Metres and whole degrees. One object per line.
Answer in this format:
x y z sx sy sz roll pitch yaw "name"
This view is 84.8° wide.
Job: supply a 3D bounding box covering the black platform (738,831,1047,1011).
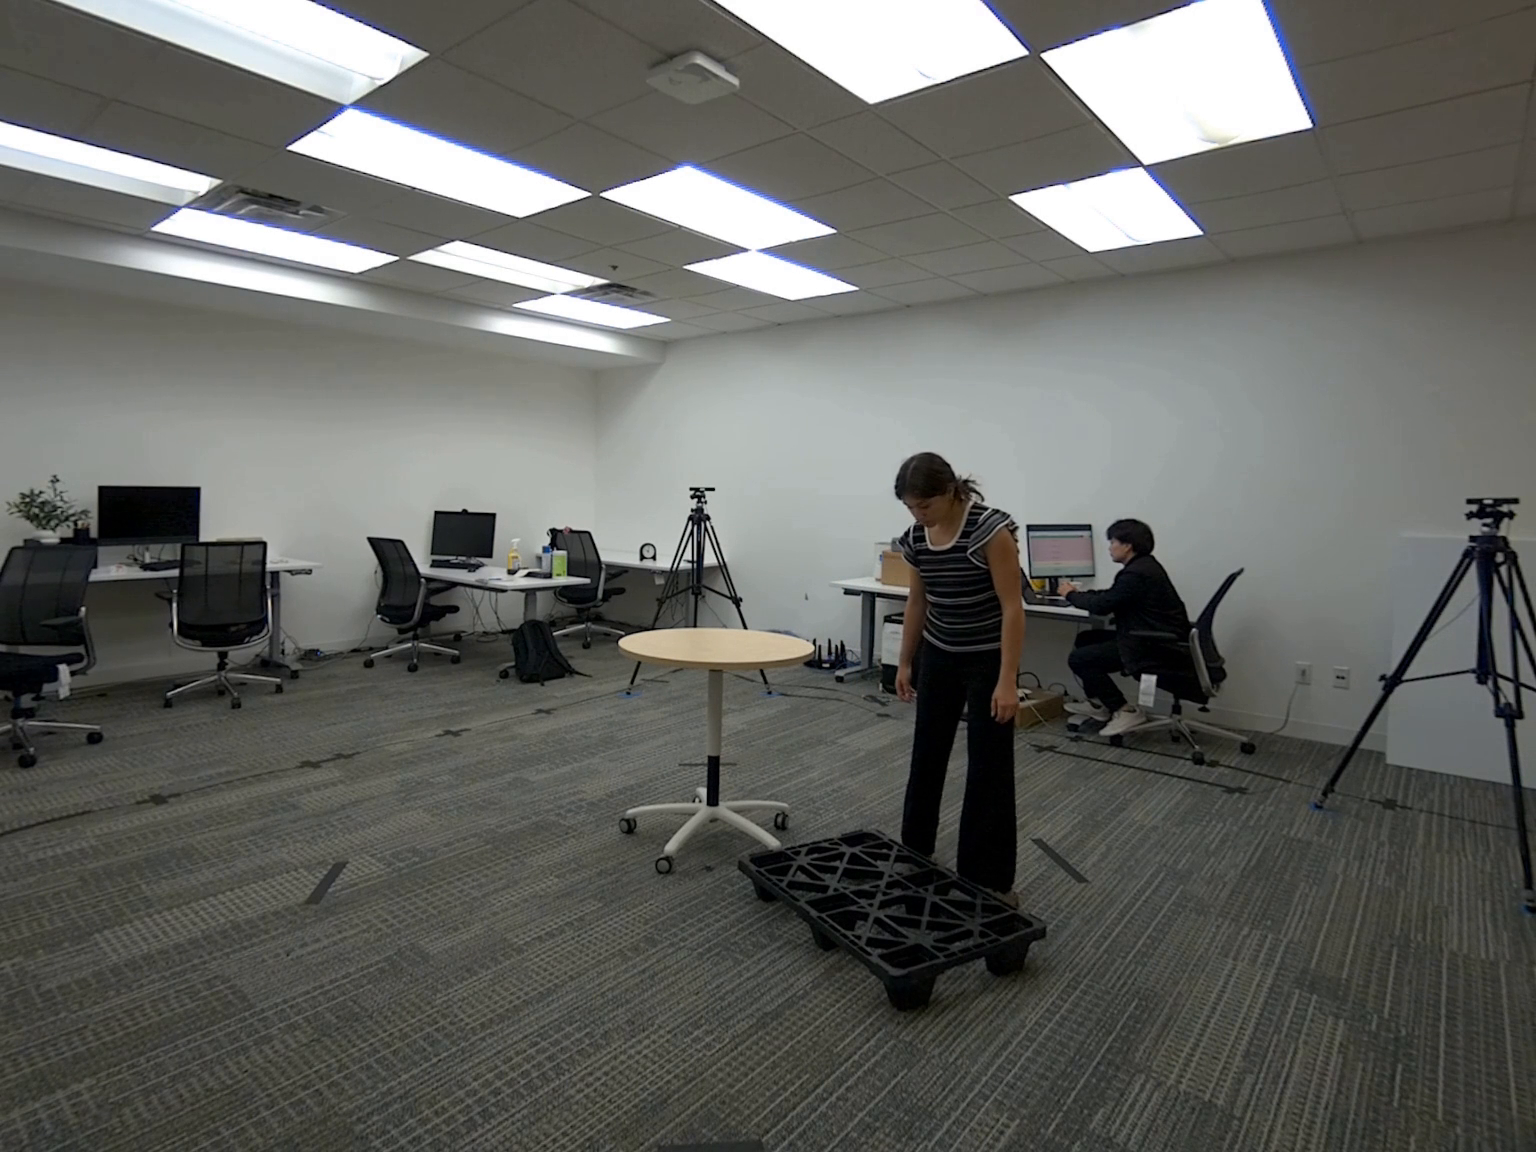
0.349 1.055 2.697 0.589 0.143 0.831 -2 6 -31 "black platform"
